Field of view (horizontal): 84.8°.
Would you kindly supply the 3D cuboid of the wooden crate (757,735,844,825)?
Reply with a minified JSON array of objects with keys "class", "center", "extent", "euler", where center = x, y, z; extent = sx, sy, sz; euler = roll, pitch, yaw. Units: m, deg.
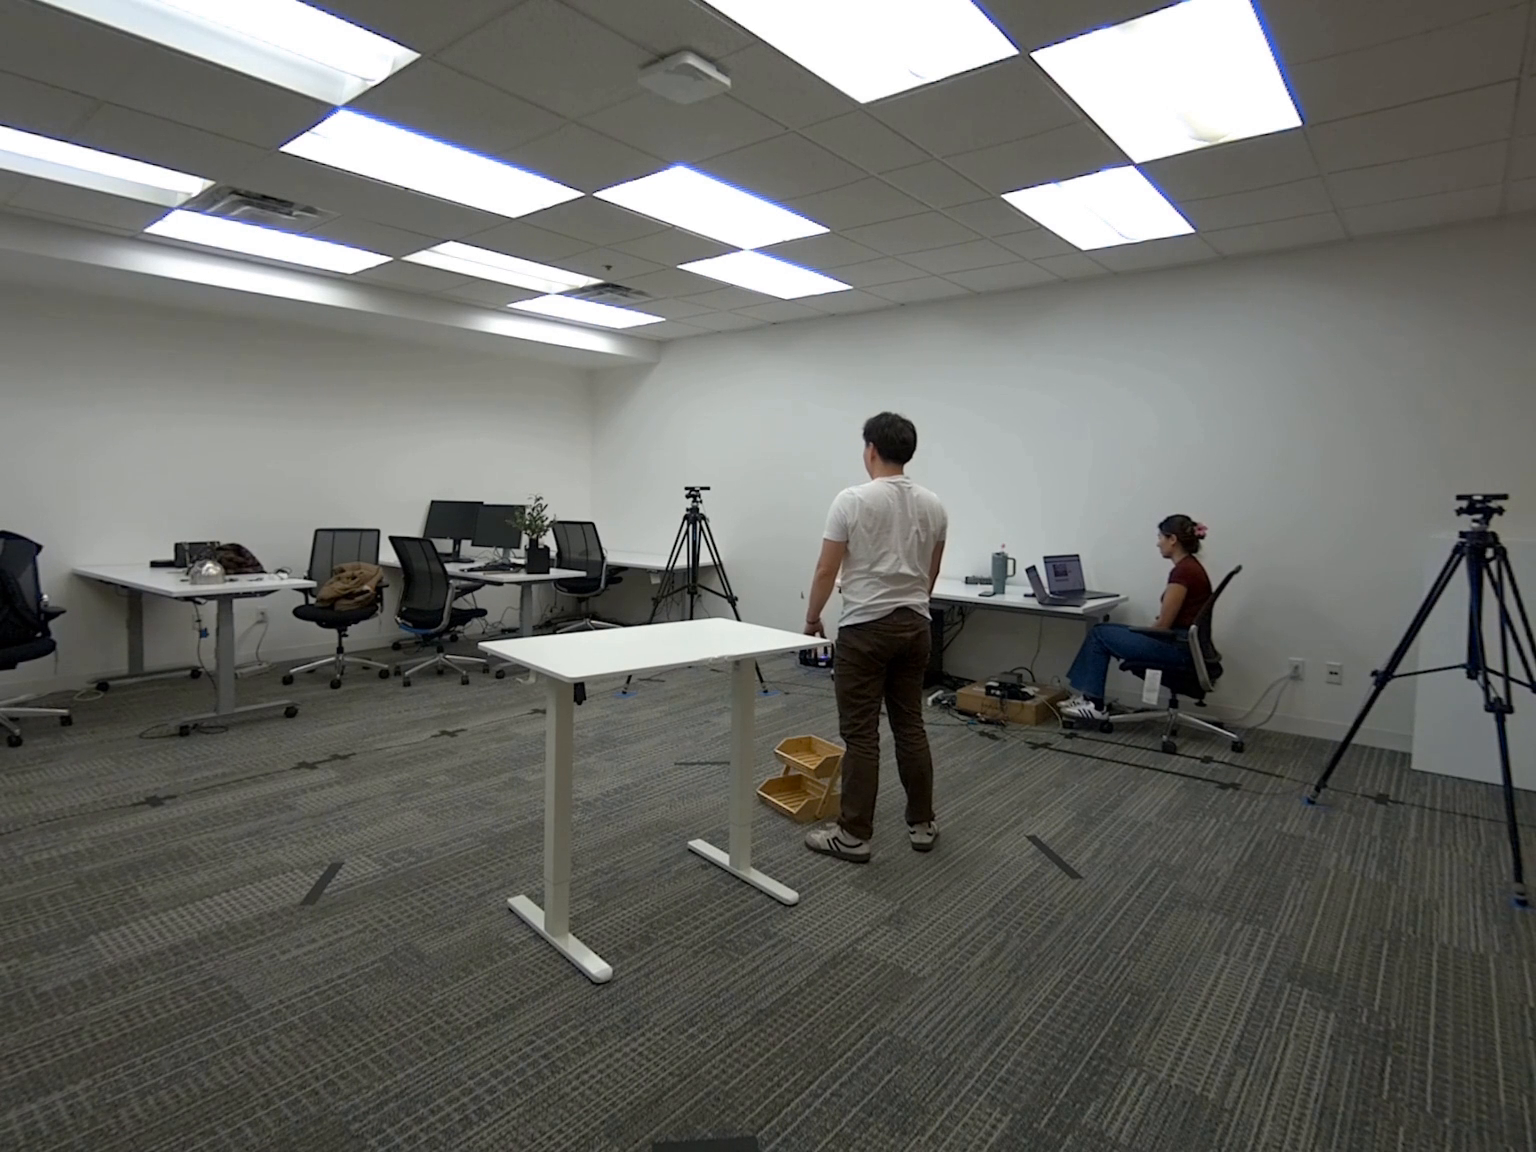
[{"class":"wooden crate","center":[0.146,0.873,3.735],"extent":[0.293,0.272,0.335],"euler":[-1,6,-33]}]
